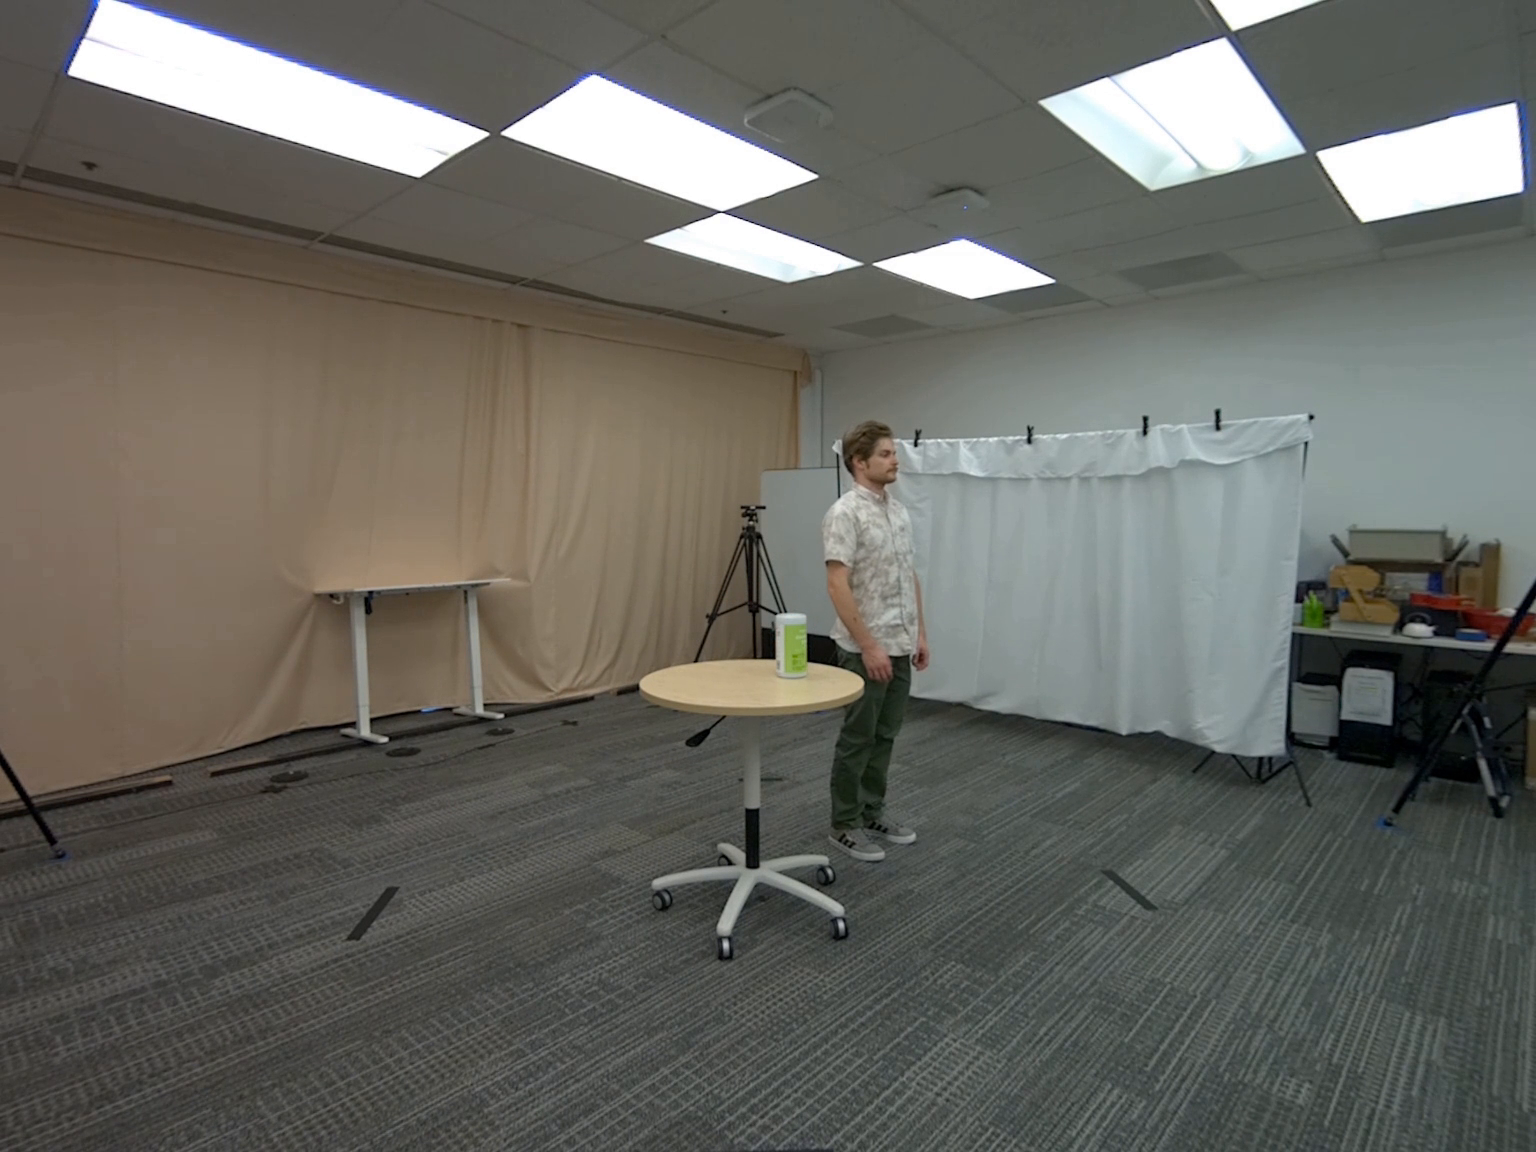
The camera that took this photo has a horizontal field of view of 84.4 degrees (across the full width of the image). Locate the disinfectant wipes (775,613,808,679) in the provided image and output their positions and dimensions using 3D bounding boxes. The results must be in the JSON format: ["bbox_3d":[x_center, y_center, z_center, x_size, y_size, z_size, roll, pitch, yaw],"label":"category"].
[{"bbox_3d":[0.083,0.242,2.959,0.117,0.217,0.118,3,4,-2],"label":"disinfectant wipes"}]
